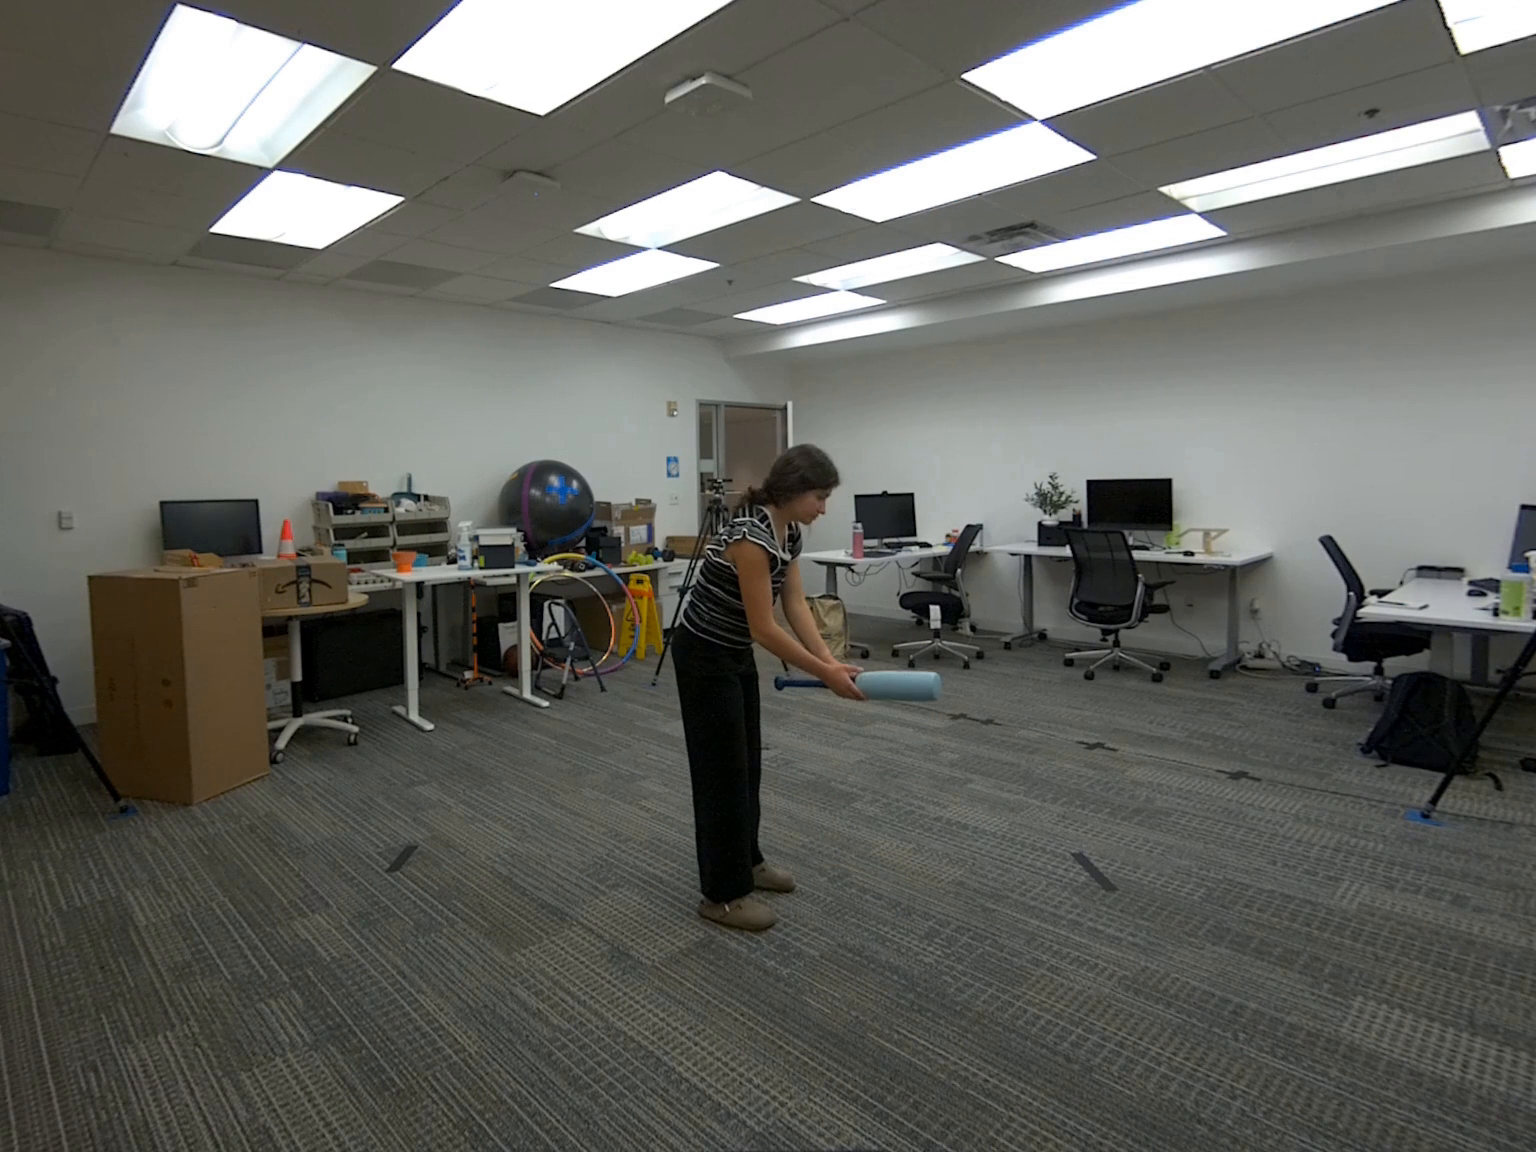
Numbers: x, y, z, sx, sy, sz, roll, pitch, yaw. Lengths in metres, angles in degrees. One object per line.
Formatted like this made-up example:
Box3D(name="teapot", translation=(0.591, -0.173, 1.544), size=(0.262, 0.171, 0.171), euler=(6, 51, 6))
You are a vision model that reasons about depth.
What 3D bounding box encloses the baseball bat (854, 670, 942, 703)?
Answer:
Box3D(name="baseball bat", translation=(0.265, 0.347, 2.639), size=(0.556, 0.089, 0.087), euler=(-3, 3, 31))
